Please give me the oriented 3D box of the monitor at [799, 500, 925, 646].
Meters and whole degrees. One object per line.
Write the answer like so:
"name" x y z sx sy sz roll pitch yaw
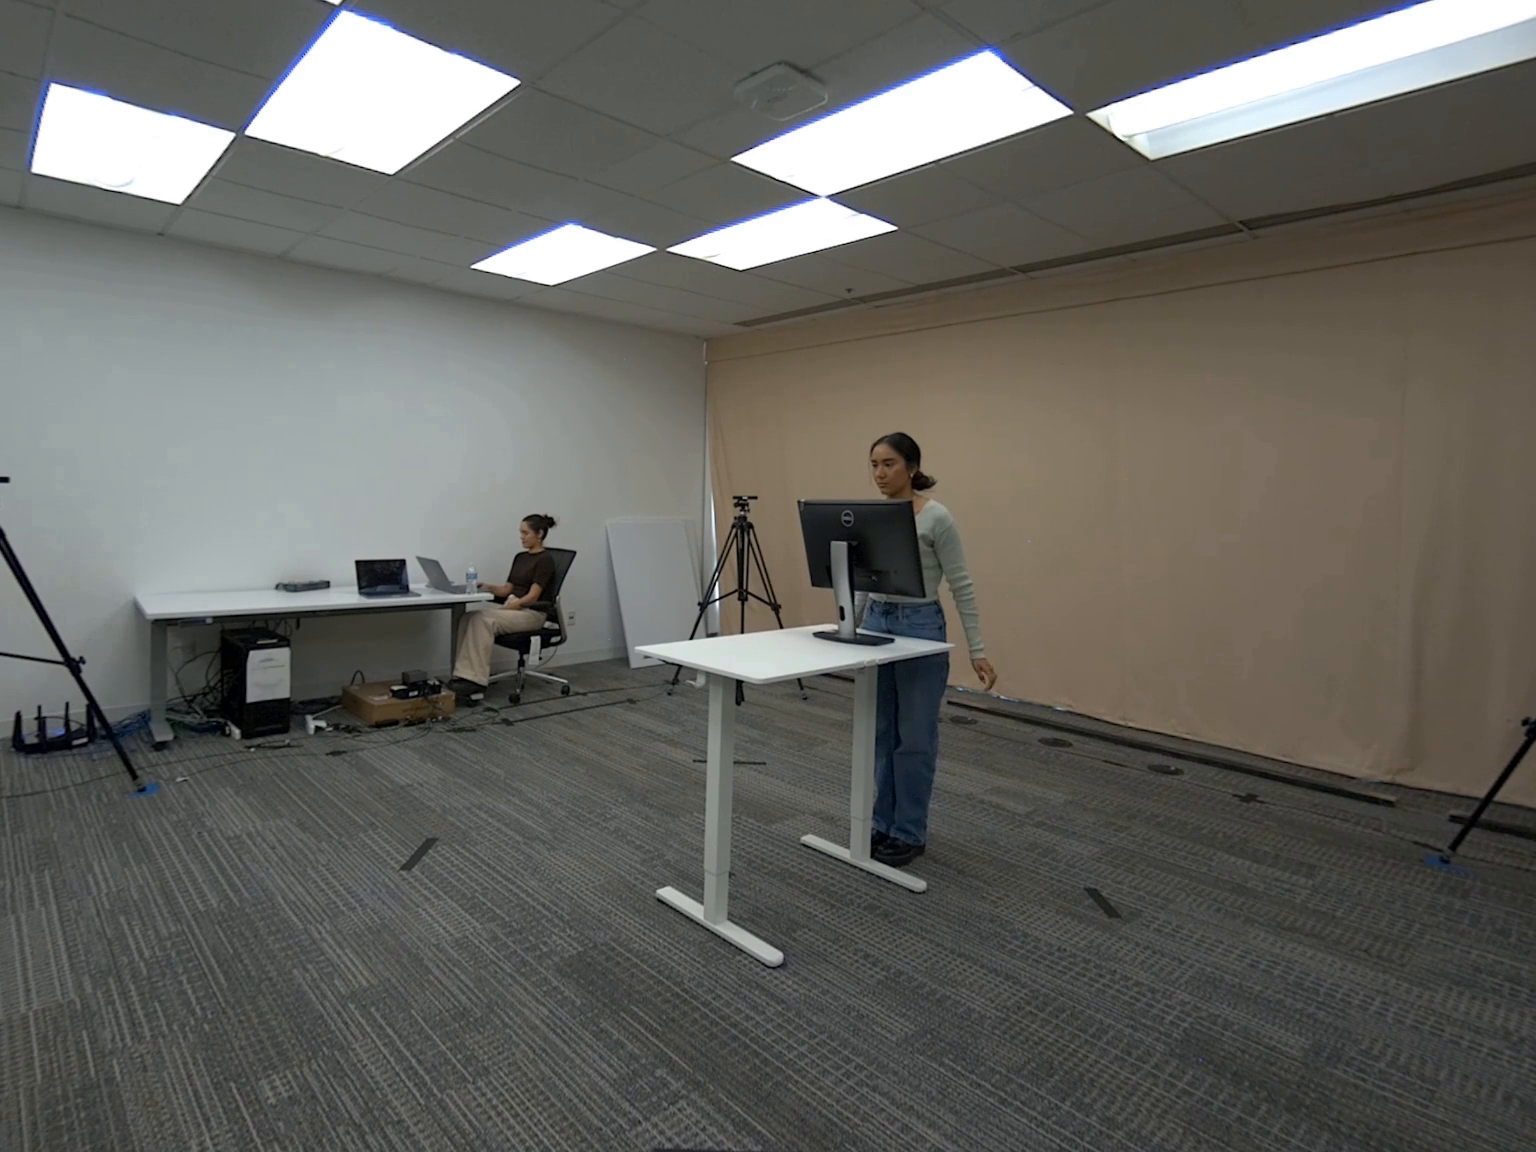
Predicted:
"monitor" 0.304 -0.015 3.074 0.183 0.521 0.553 -4 6 -44
